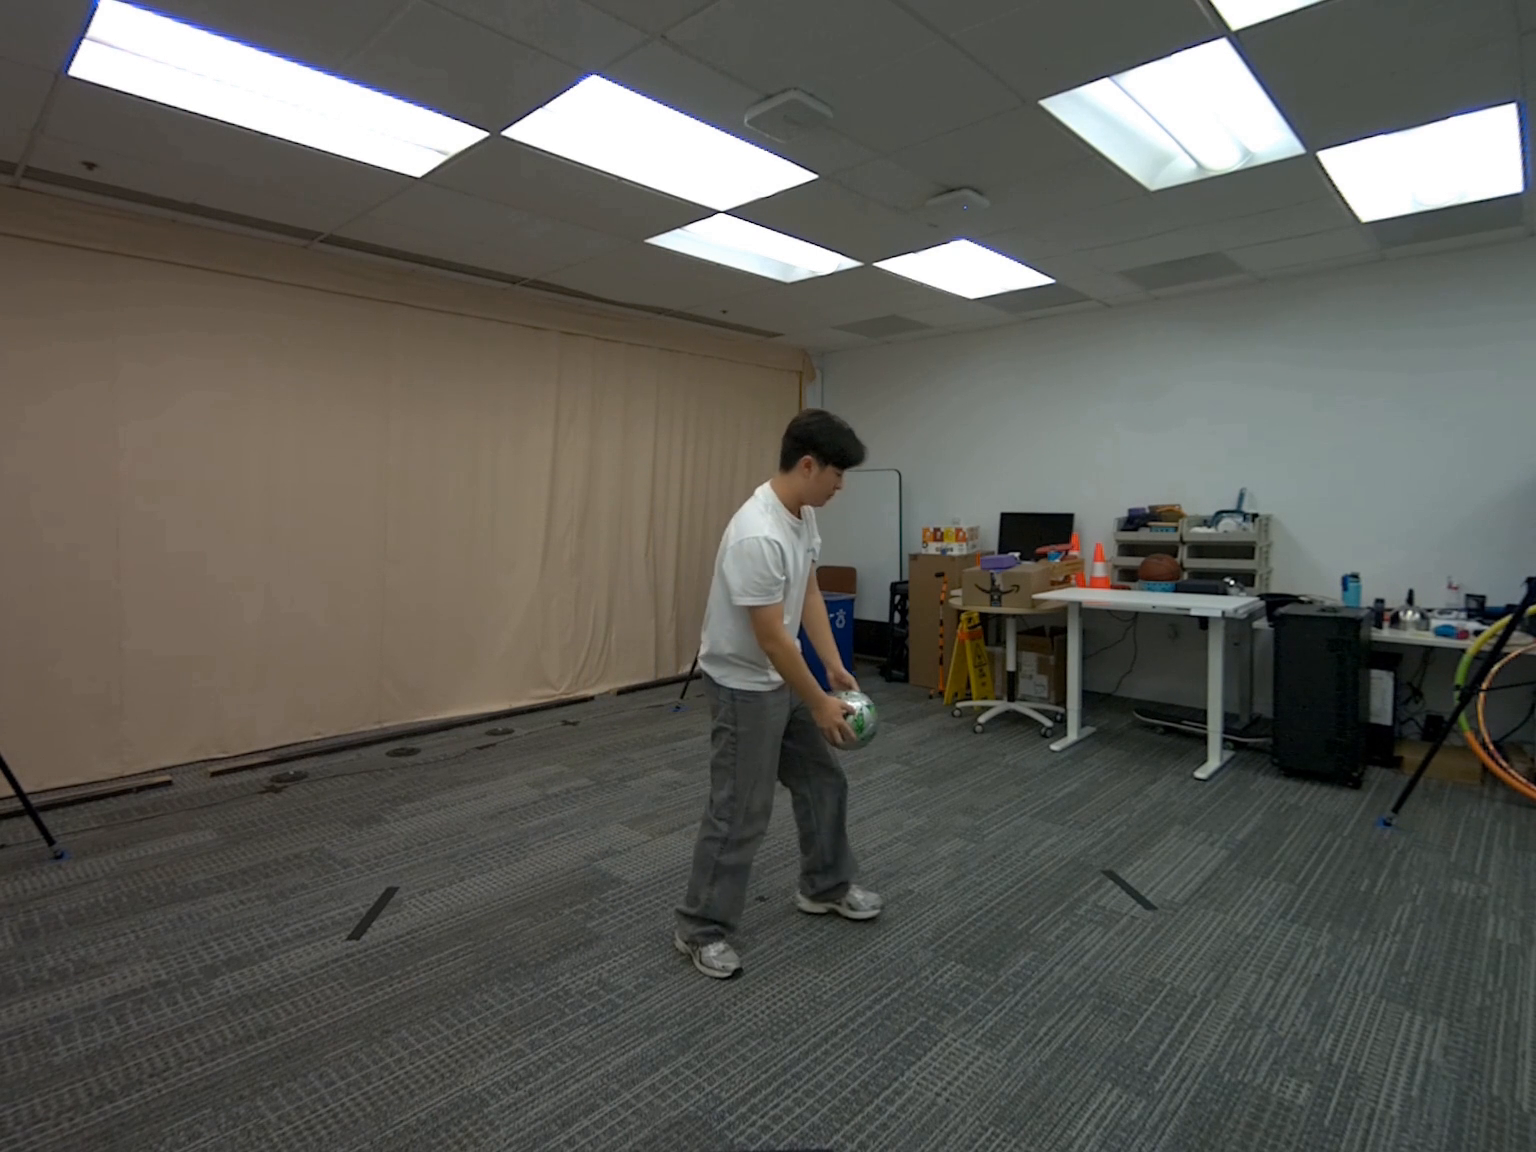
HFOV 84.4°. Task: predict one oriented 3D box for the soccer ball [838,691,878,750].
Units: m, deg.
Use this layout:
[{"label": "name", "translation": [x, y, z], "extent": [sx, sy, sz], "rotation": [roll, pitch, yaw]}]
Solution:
[{"label": "soccer ball", "translation": [0.246, 0.456, 2.597], "extent": [0.187, 0.187, 0.188], "rotation": [0, 4, -2]}]
